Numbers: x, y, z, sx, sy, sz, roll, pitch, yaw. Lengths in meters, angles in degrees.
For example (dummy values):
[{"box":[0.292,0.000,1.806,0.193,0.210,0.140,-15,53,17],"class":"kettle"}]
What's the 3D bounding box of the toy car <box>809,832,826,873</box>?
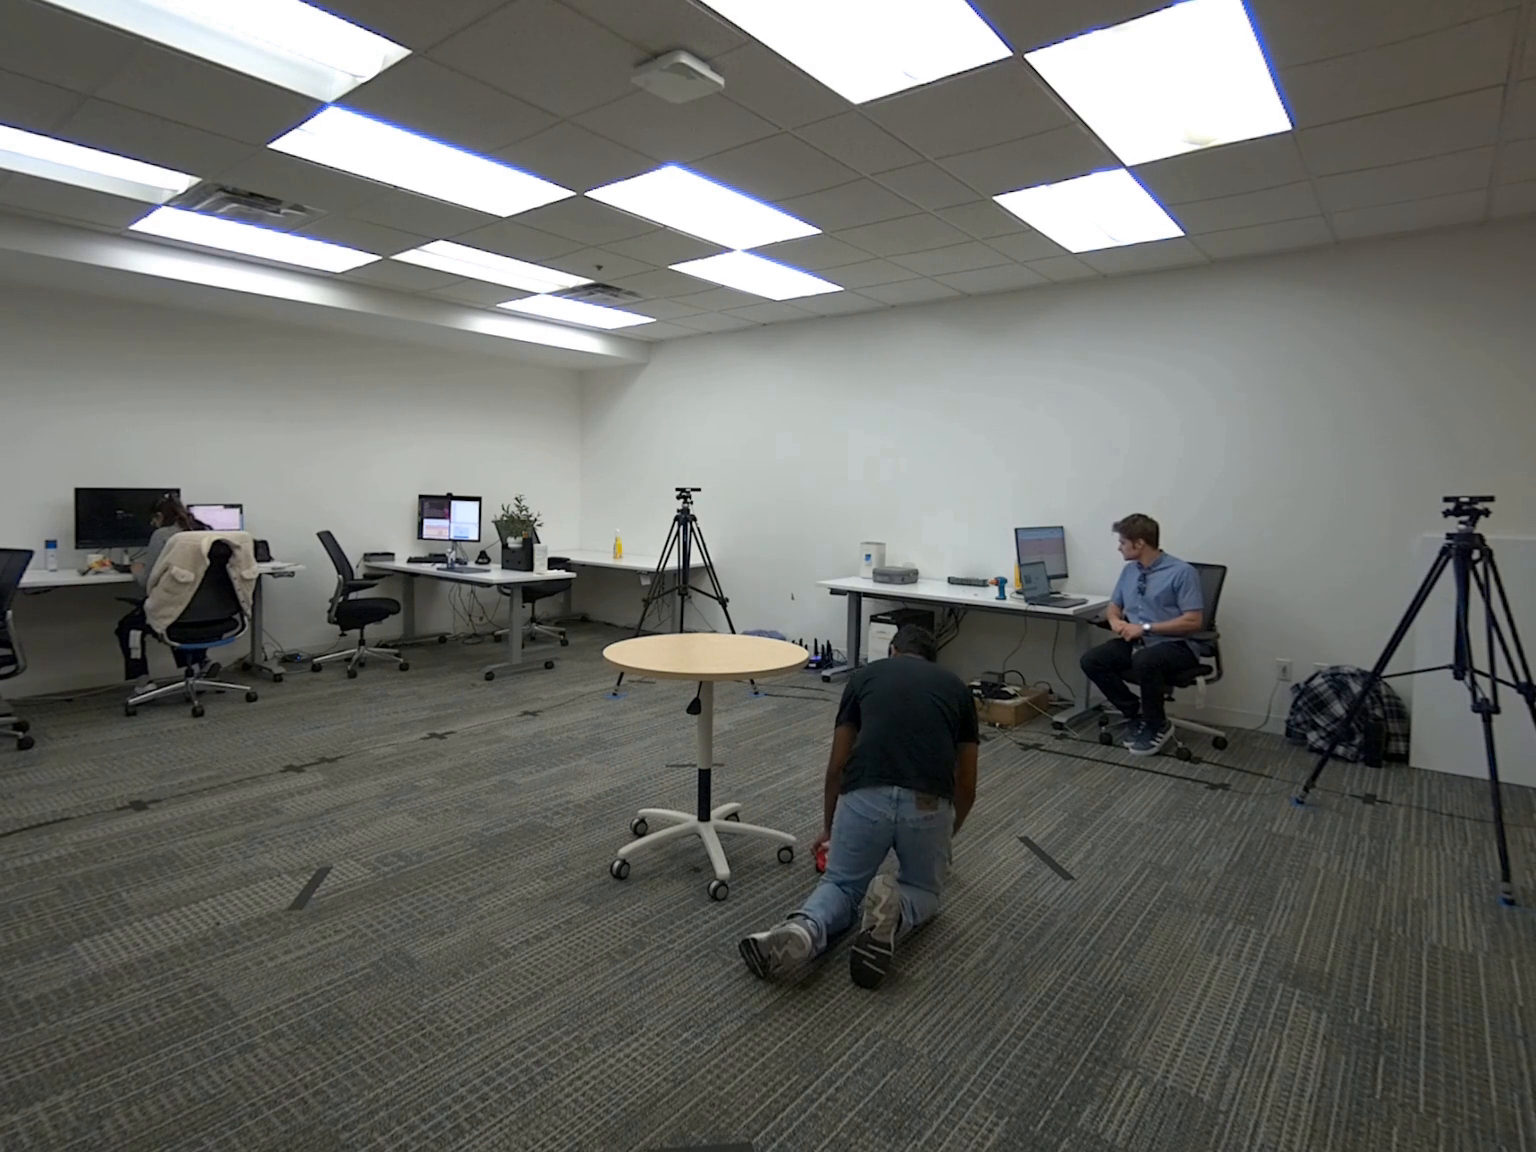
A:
[{"box":[0.228,1.038,3.162,0.130,0.084,0.253,2,-5,-1],"class":"toy car"}]
